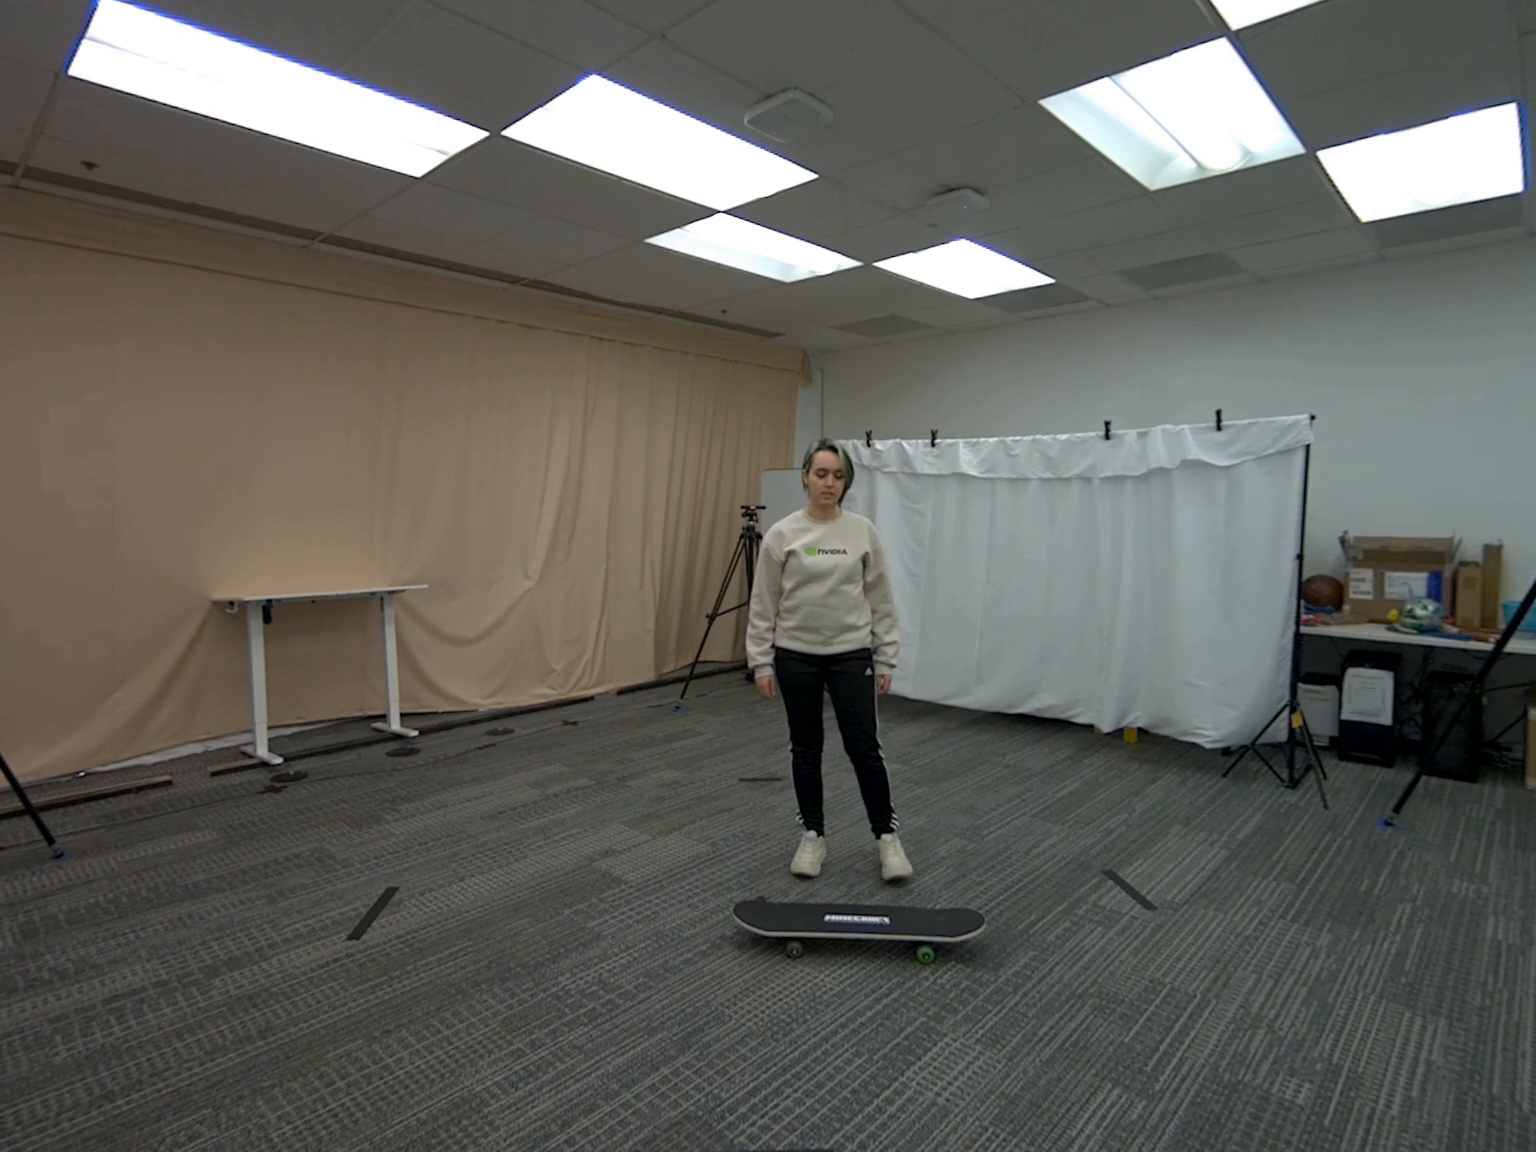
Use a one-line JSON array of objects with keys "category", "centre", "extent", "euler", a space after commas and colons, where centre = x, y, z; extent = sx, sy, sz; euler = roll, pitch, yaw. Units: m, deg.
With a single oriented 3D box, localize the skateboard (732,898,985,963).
[{"category": "skateboard", "centre": [0.288, 1.111, 2.652], "extent": [0.789, 0.110, 0.193], "euler": [0, 5, 4]}]
